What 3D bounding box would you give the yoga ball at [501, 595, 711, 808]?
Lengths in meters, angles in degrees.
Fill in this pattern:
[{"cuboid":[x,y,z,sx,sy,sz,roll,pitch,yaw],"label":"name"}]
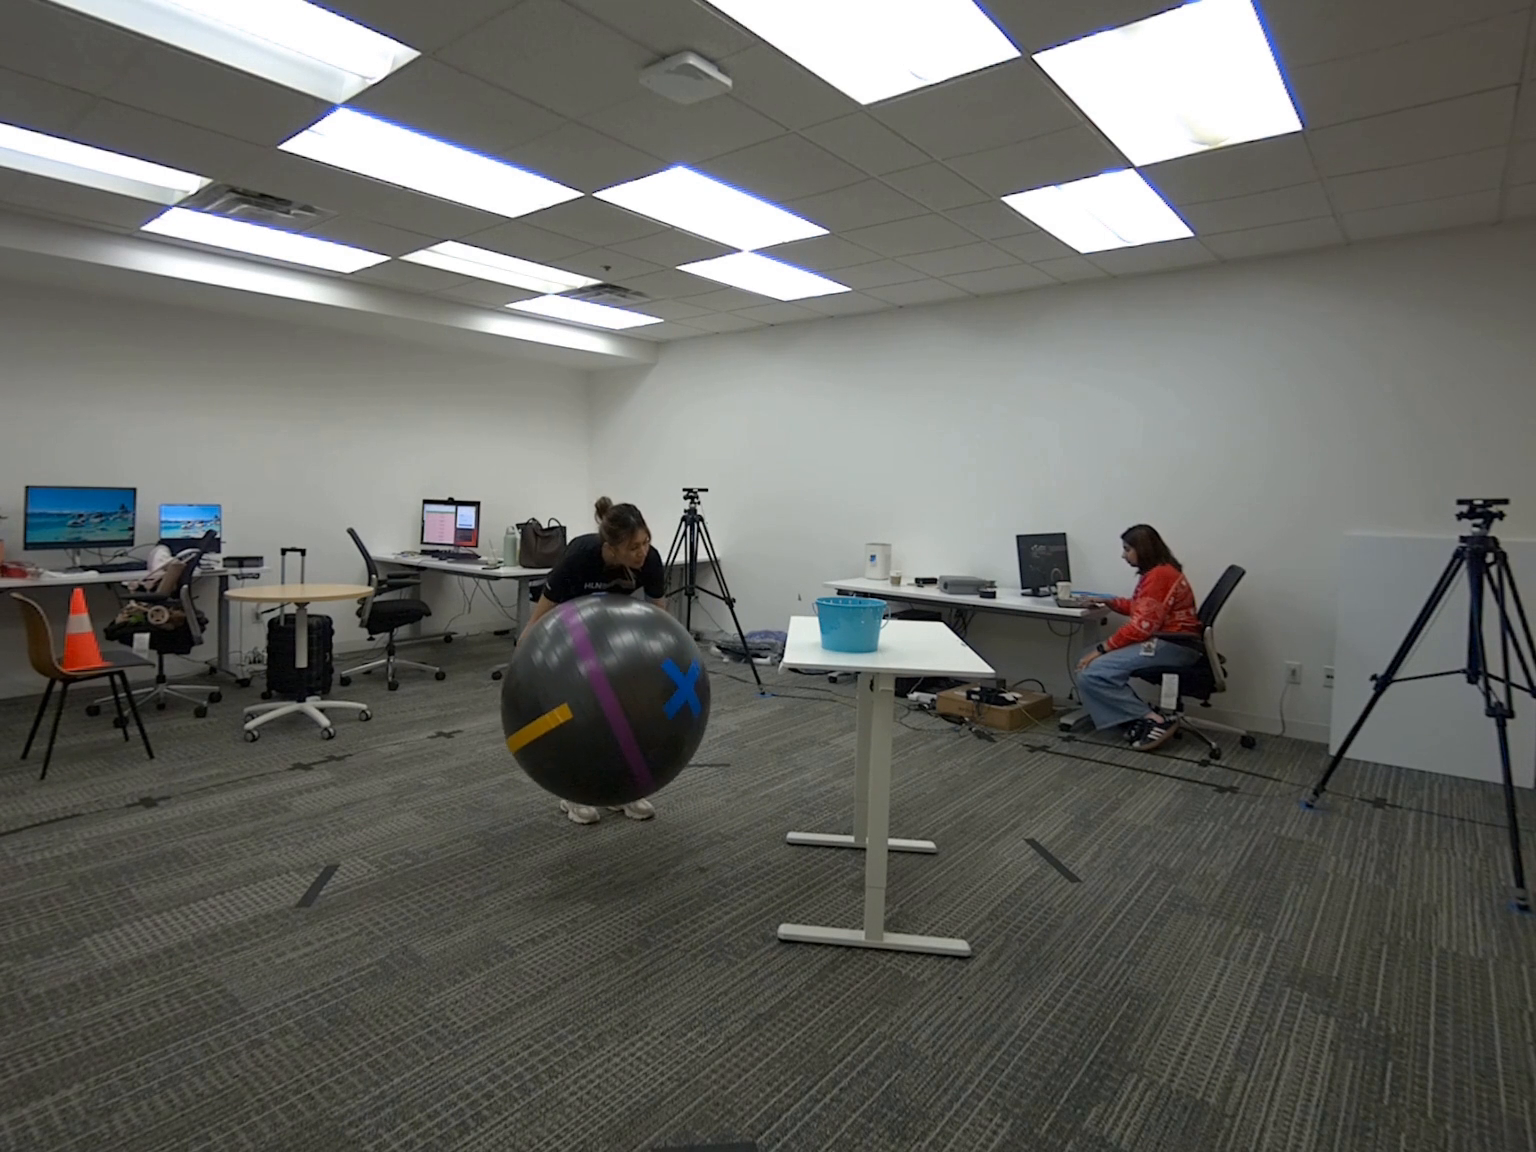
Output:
[{"cuboid":[-0.606,0.443,3.095,0.757,0.756,0.762,1,4,-2],"label":"yoga ball"}]
